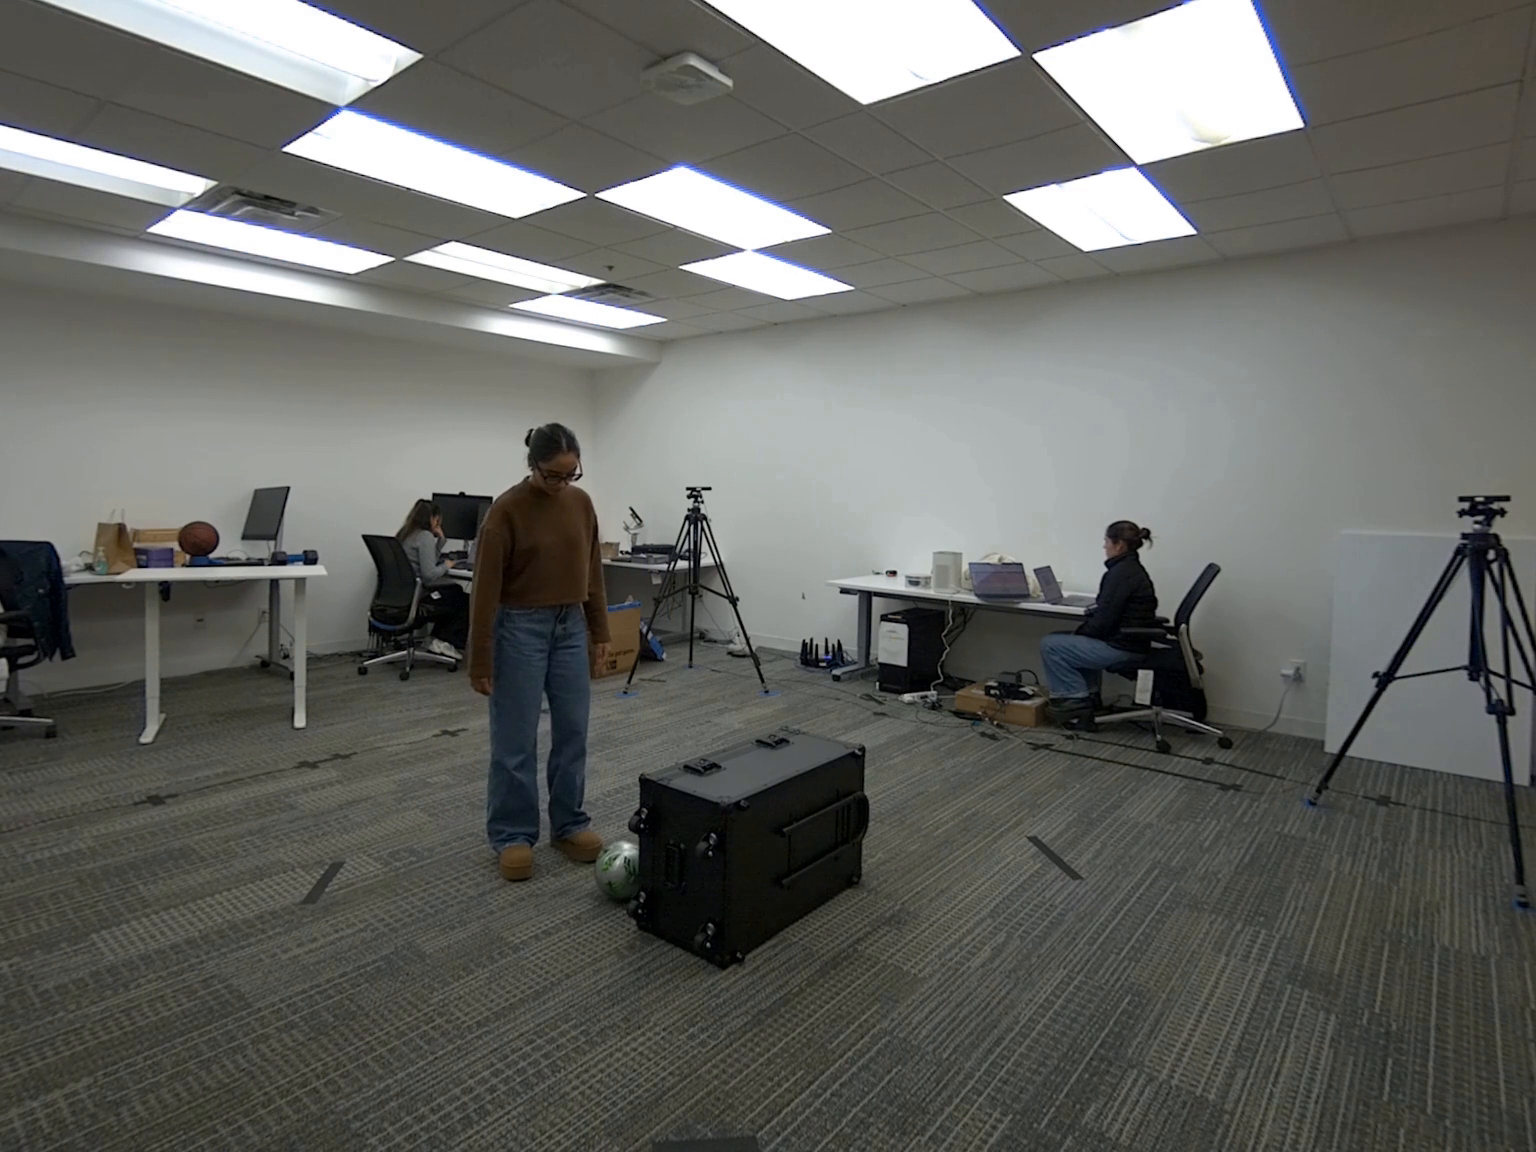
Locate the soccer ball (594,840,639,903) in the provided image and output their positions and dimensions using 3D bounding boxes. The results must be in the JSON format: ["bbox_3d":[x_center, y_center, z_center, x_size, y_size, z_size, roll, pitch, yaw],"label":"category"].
[{"bbox_3d":[-0.495,0.987,2.876,0.187,0.187,0.188,1,4,-2],"label":"soccer ball"}]
